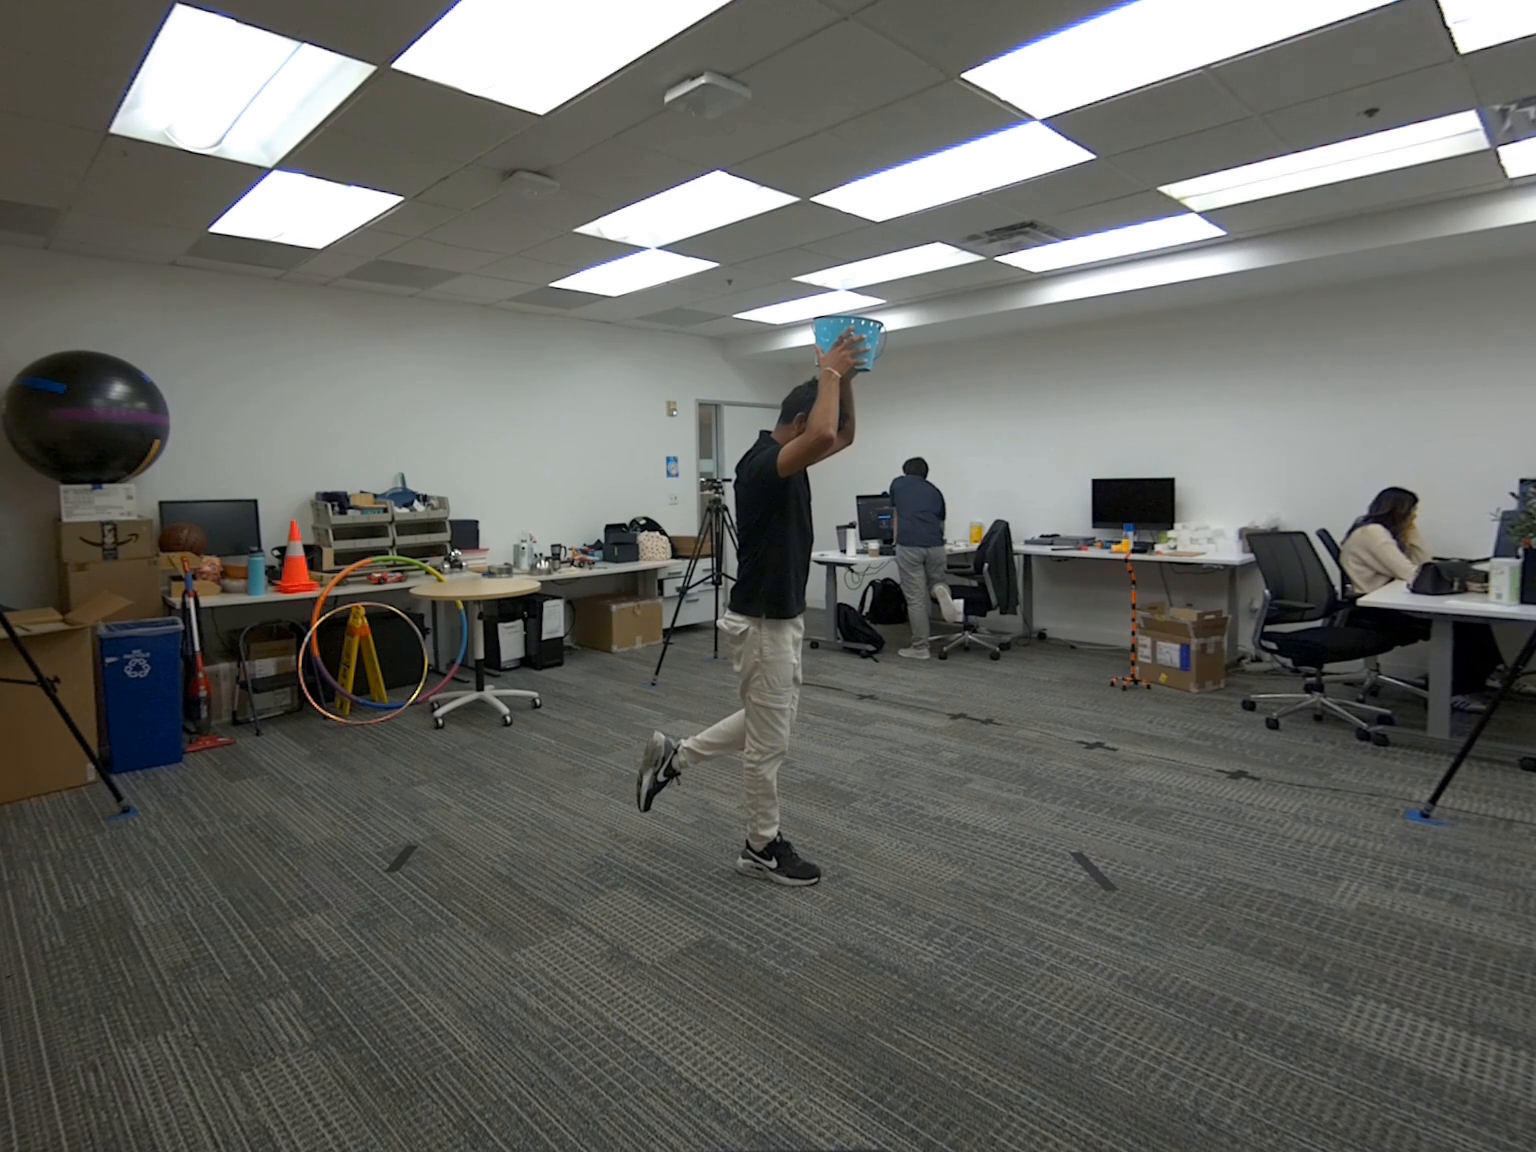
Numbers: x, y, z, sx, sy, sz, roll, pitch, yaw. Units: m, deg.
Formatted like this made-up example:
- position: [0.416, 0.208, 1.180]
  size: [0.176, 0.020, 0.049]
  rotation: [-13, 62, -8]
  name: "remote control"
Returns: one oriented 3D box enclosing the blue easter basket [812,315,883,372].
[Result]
- position: [0.264, -0.757, 2.793]
  size: [0.243, 0.155, 0.245]
  rotation: [5, 7, -2]
  name: "blue easter basket"
